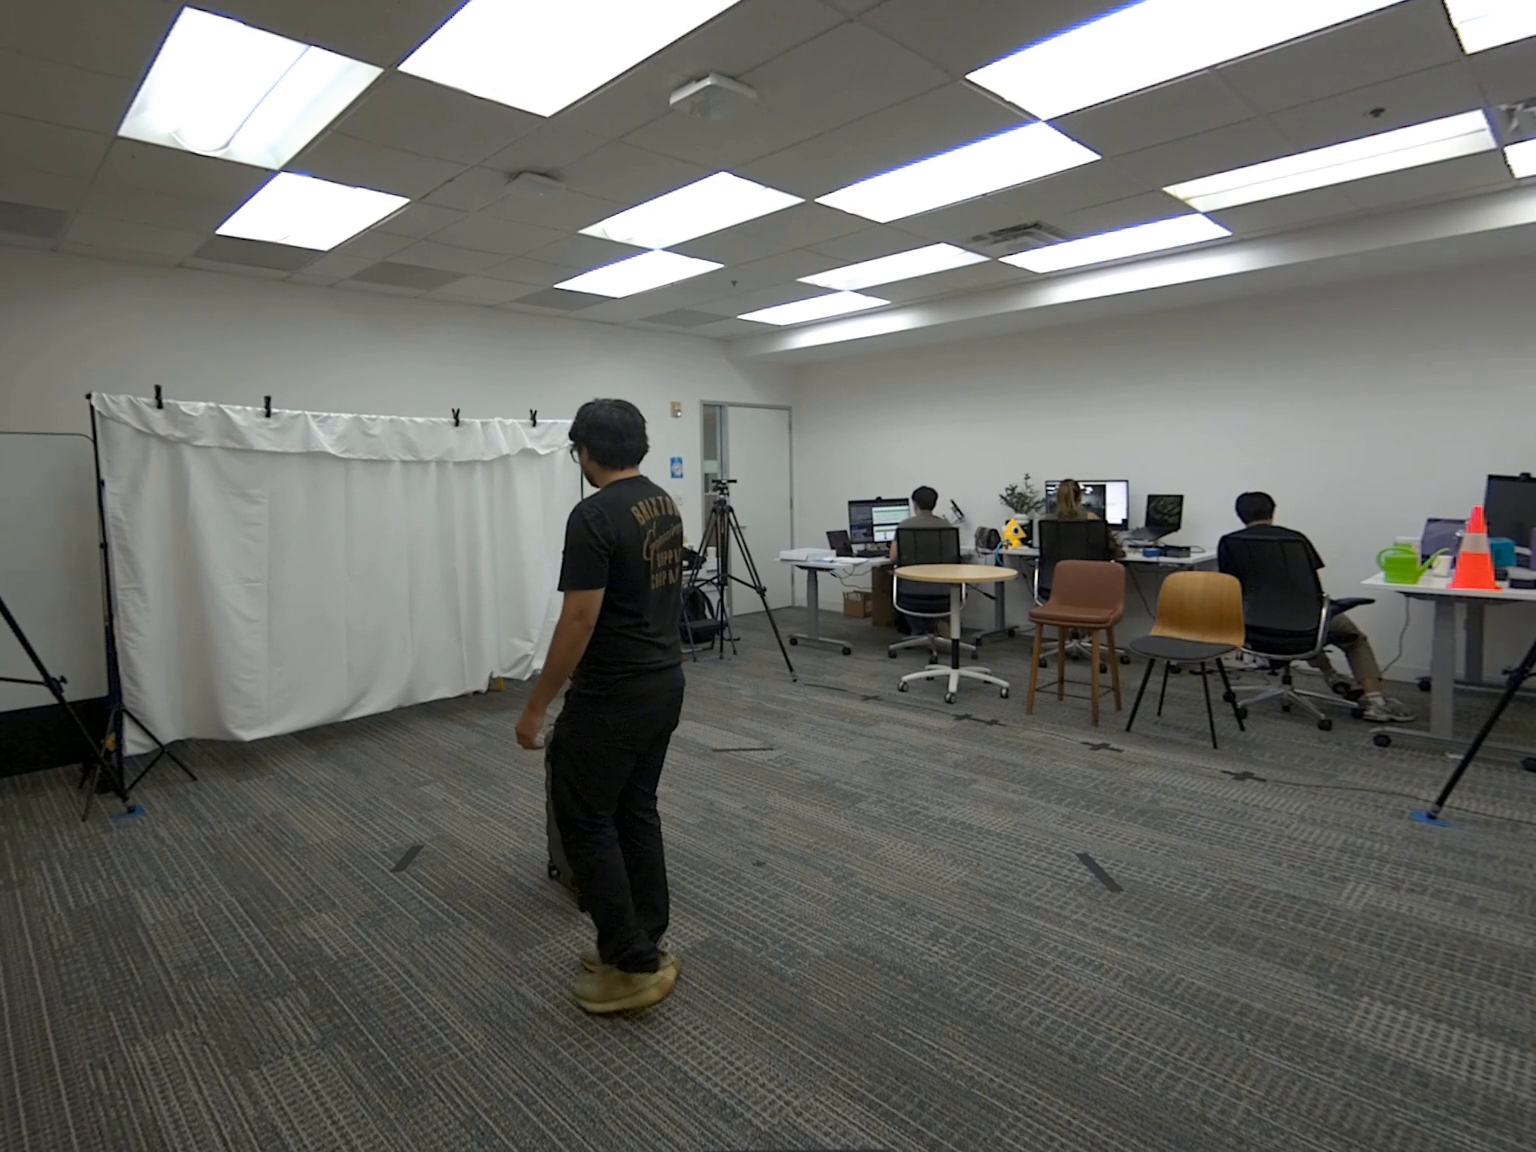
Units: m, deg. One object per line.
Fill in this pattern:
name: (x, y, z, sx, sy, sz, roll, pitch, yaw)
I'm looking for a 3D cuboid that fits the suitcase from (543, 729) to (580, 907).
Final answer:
suitcase: (-0.612, 0.596, 2.969, 0.251, 0.977, 0.394, -4, 2, -31)
